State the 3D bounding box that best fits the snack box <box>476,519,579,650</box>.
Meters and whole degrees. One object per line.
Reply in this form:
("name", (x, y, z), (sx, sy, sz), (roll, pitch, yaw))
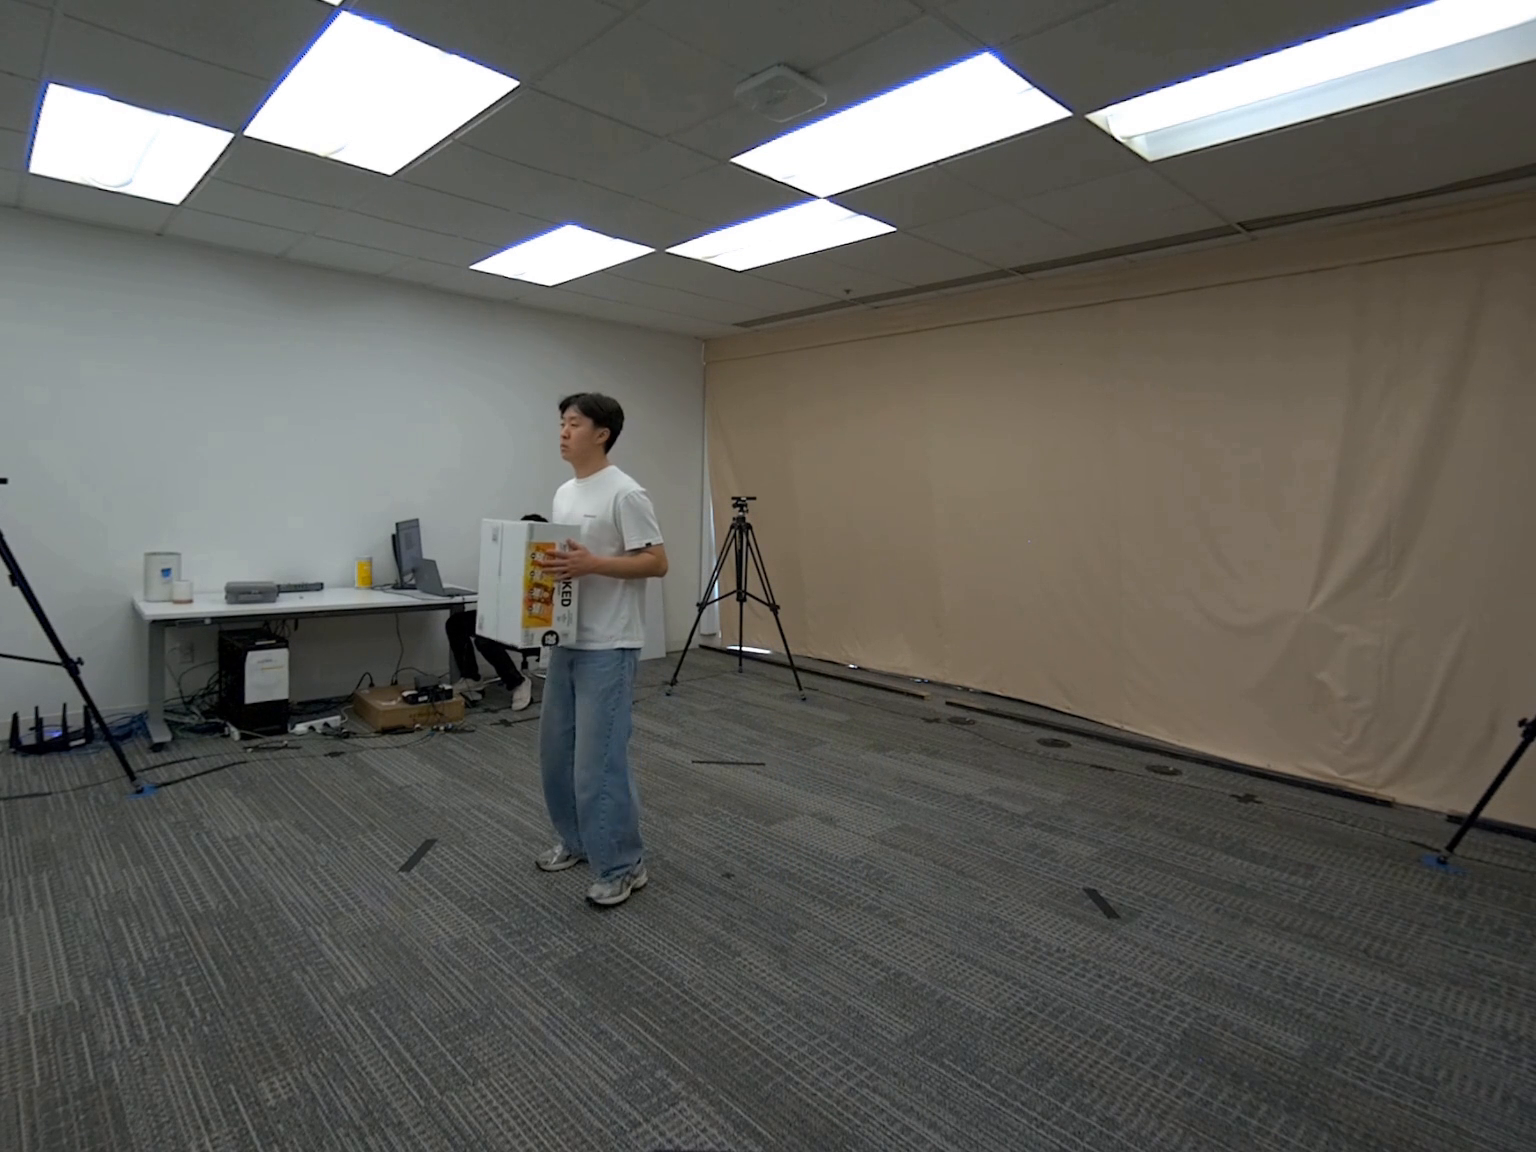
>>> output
("snack box", (-0.824, 0.019, 2.869), (0.201, 0.404, 0.349), (1, 4, -44))
